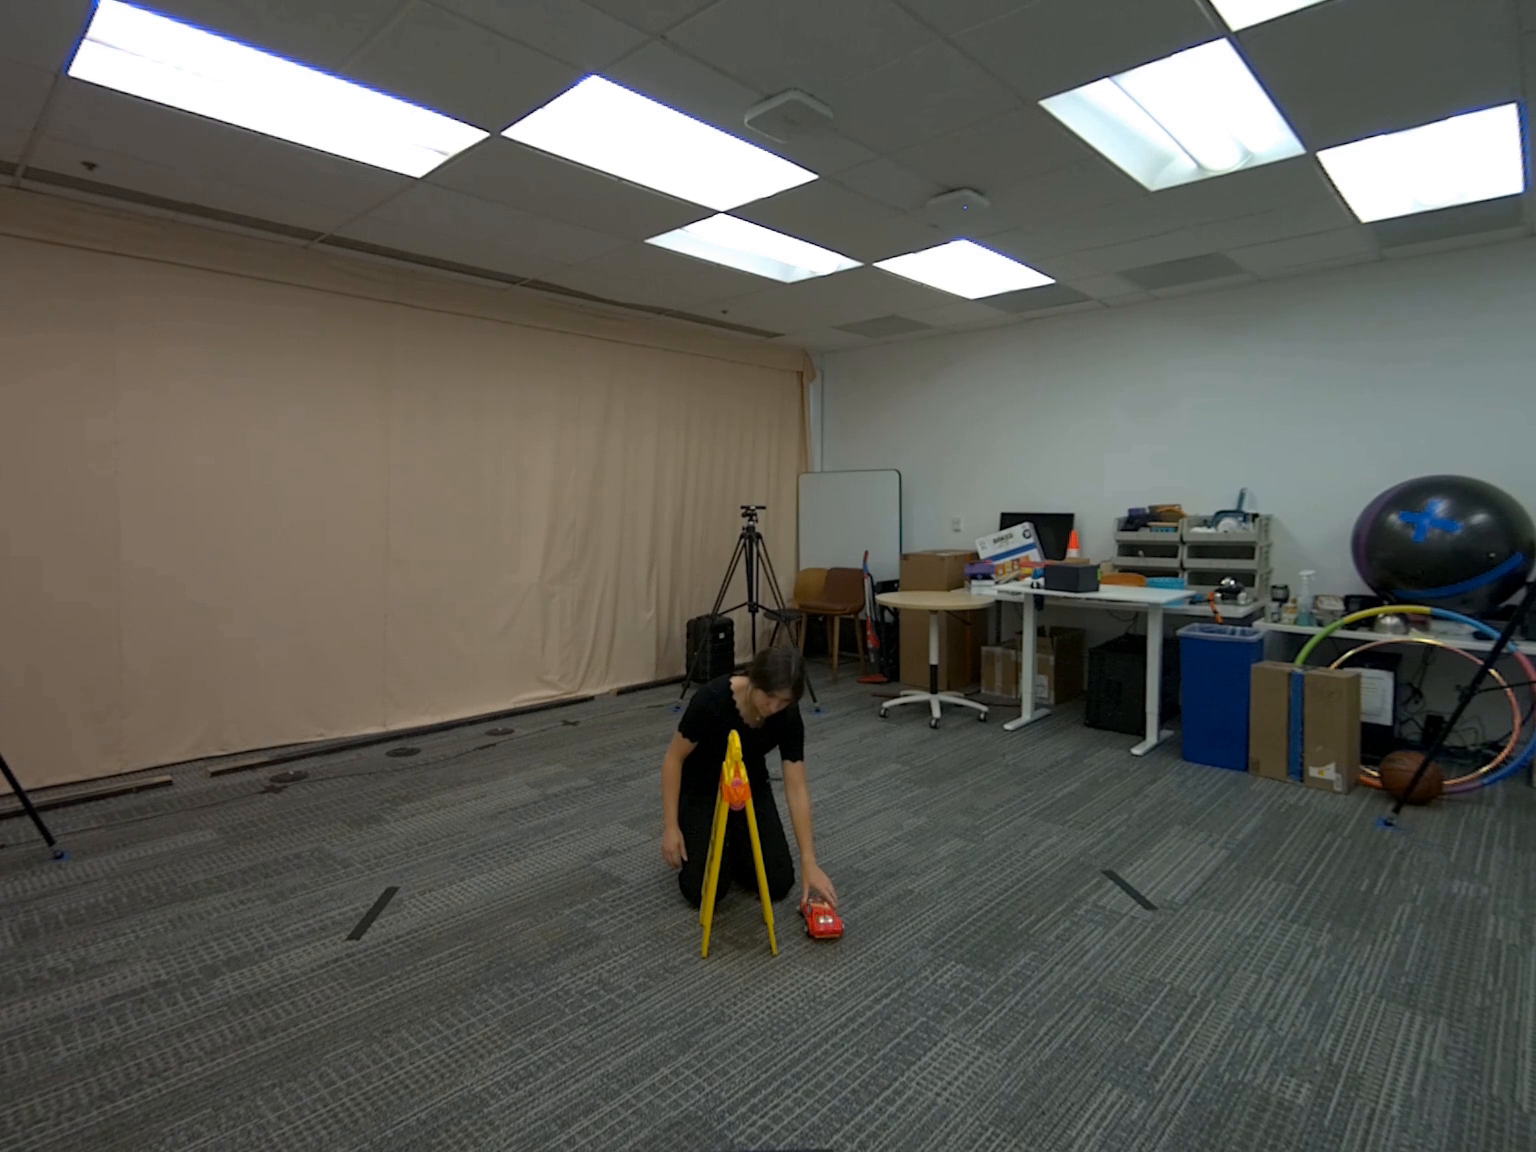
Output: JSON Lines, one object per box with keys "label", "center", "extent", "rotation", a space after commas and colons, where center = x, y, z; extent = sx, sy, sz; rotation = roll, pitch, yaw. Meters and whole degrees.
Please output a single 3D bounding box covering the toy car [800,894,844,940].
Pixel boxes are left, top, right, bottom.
{"label": "toy car", "center": [0.176, 1.130, 2.762], "extent": [0.129, 0.083, 0.255], "rotation": [2, -8, -8]}
